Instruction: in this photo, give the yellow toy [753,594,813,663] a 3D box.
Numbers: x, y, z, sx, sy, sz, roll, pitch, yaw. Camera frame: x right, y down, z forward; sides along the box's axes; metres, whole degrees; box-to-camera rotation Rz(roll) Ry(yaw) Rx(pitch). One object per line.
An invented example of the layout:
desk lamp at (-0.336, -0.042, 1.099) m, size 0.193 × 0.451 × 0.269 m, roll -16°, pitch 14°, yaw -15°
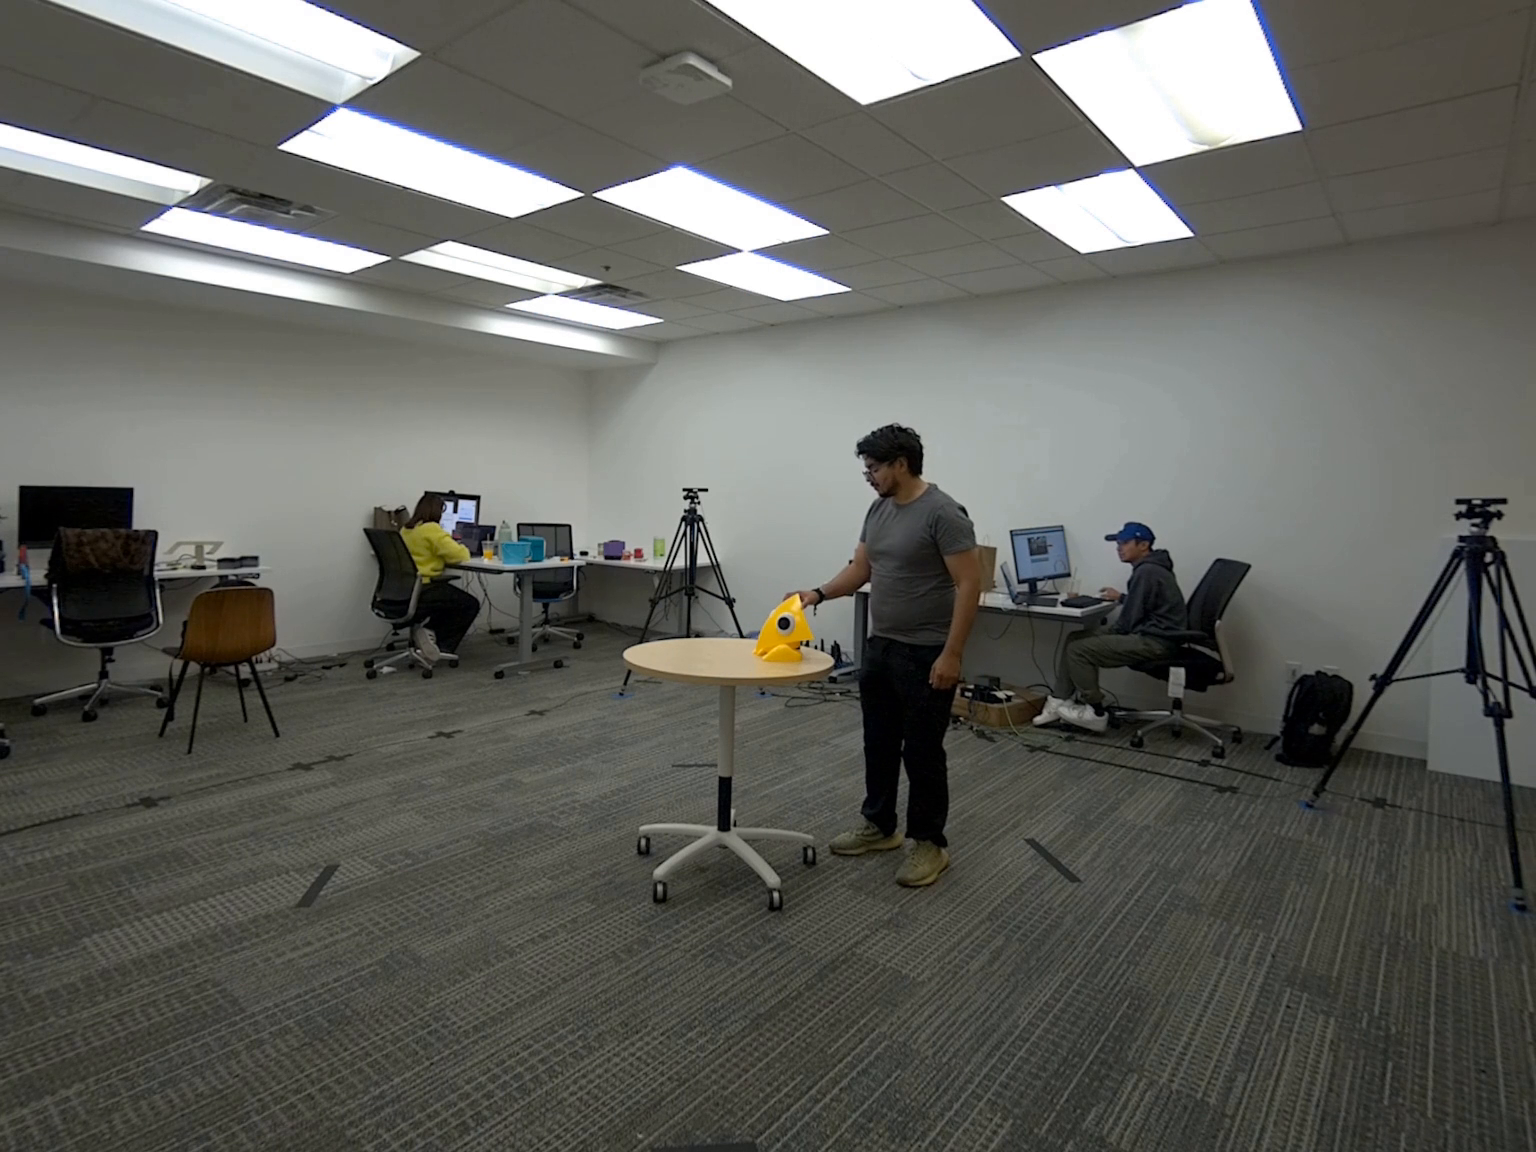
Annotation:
yellow toy at (0.035, 0.178, 3.113) m, size 0.190 × 0.230 × 0.209 m, roll 1°, pitch 4°, yaw -16°
